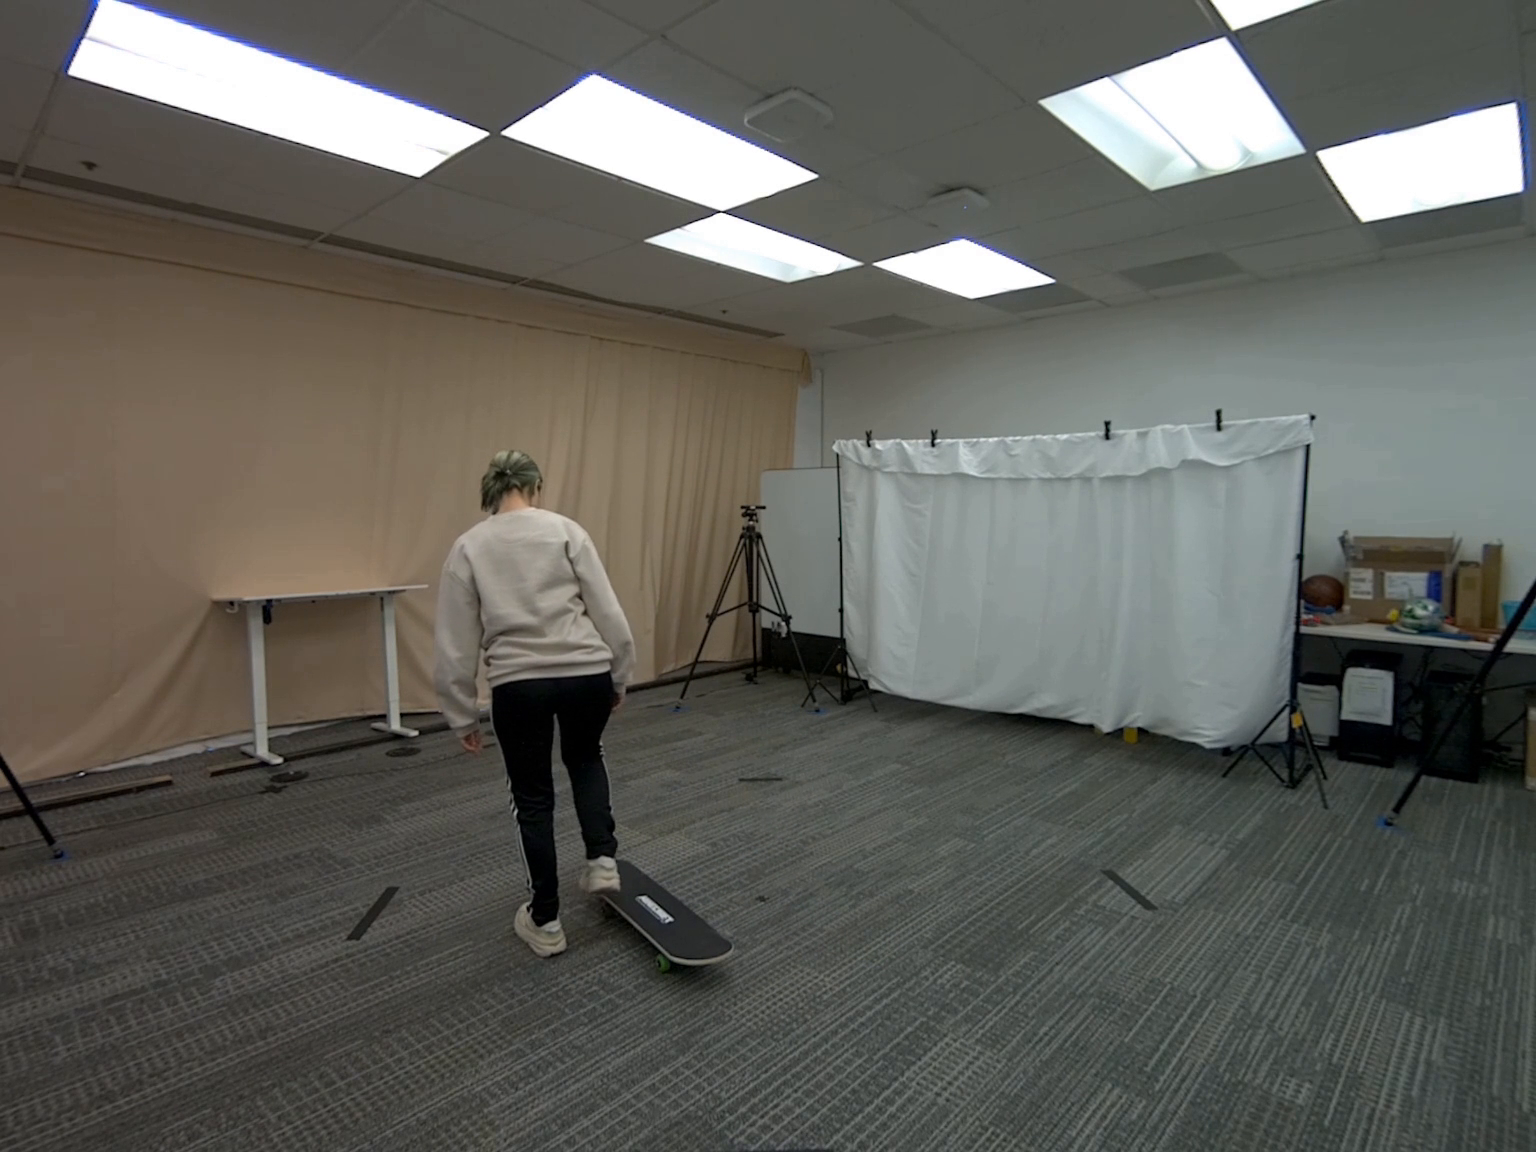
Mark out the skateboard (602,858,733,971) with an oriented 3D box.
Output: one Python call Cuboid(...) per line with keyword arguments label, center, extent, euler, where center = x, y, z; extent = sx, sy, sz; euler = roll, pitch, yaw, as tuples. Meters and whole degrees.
Cuboid(label="skateboard", center=(-0.370, 1.110, 2.725), extent=(0.188, 0.110, 0.810), euler=(-4, 6, -34))
